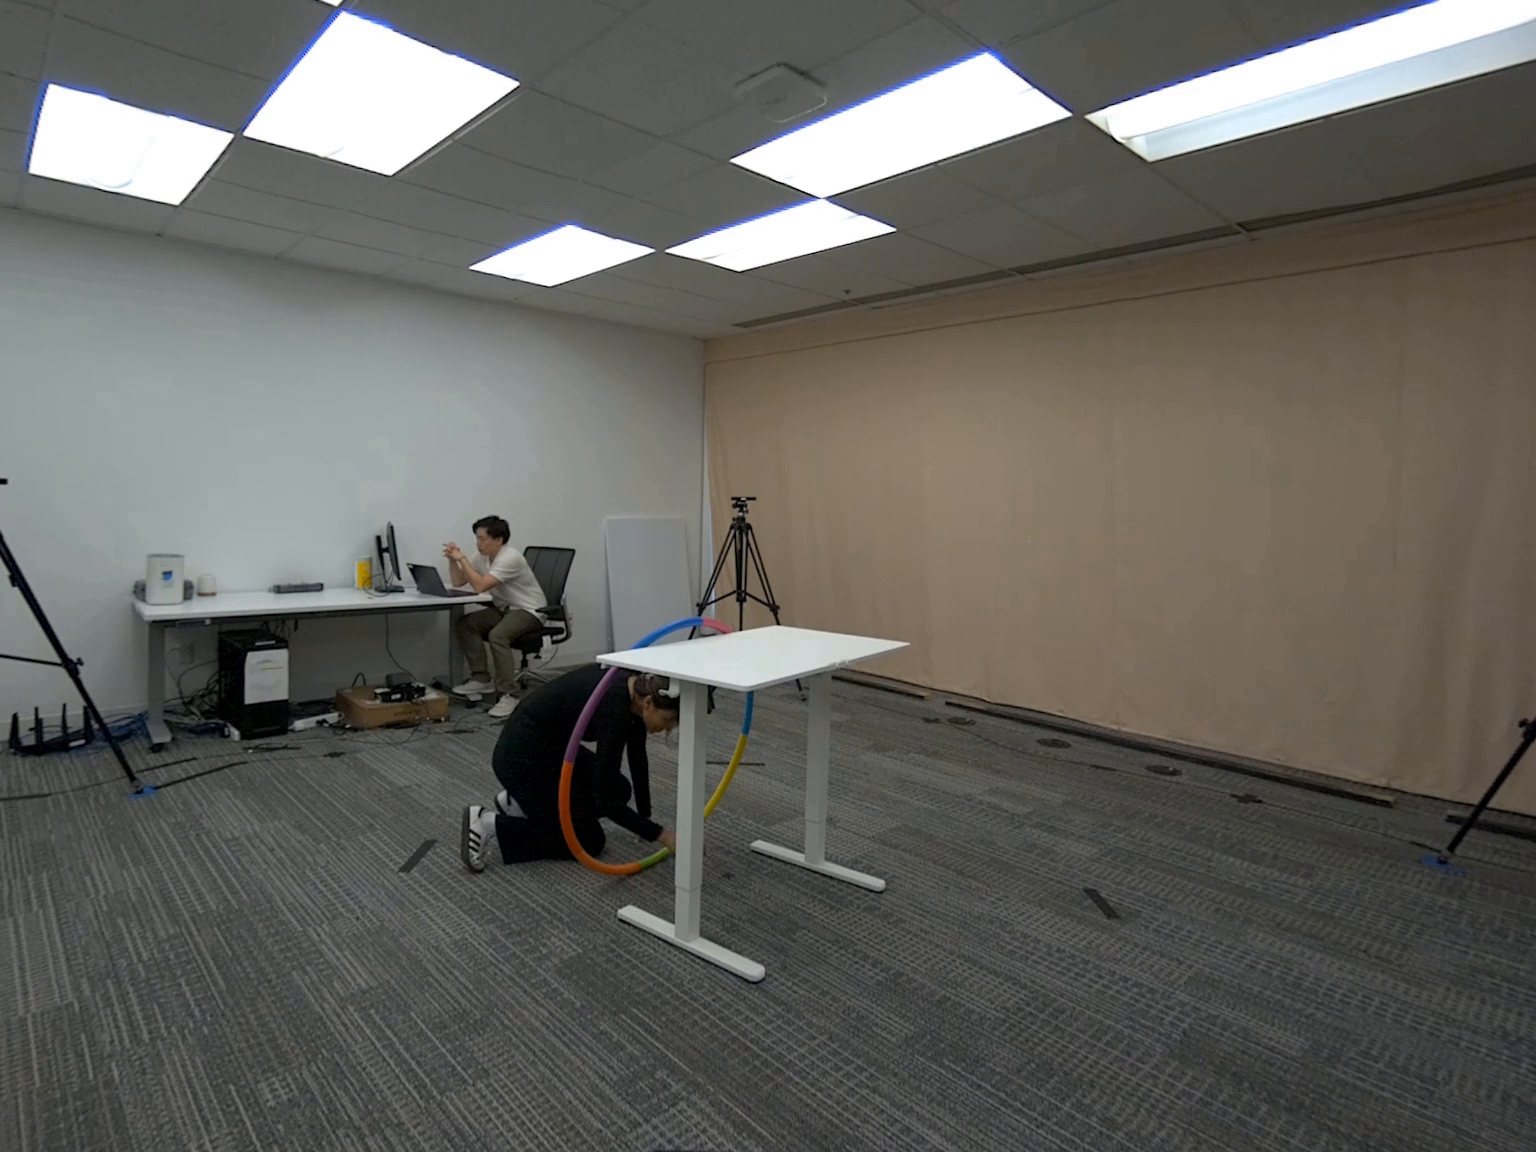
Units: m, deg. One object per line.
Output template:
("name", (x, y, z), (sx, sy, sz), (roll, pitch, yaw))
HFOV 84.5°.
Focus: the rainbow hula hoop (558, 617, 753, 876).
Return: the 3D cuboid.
("rainbow hula hoop", (-0.375, 0.618, 3.090), (0.036, 0.972, 0.957), (19, 14, 34))
